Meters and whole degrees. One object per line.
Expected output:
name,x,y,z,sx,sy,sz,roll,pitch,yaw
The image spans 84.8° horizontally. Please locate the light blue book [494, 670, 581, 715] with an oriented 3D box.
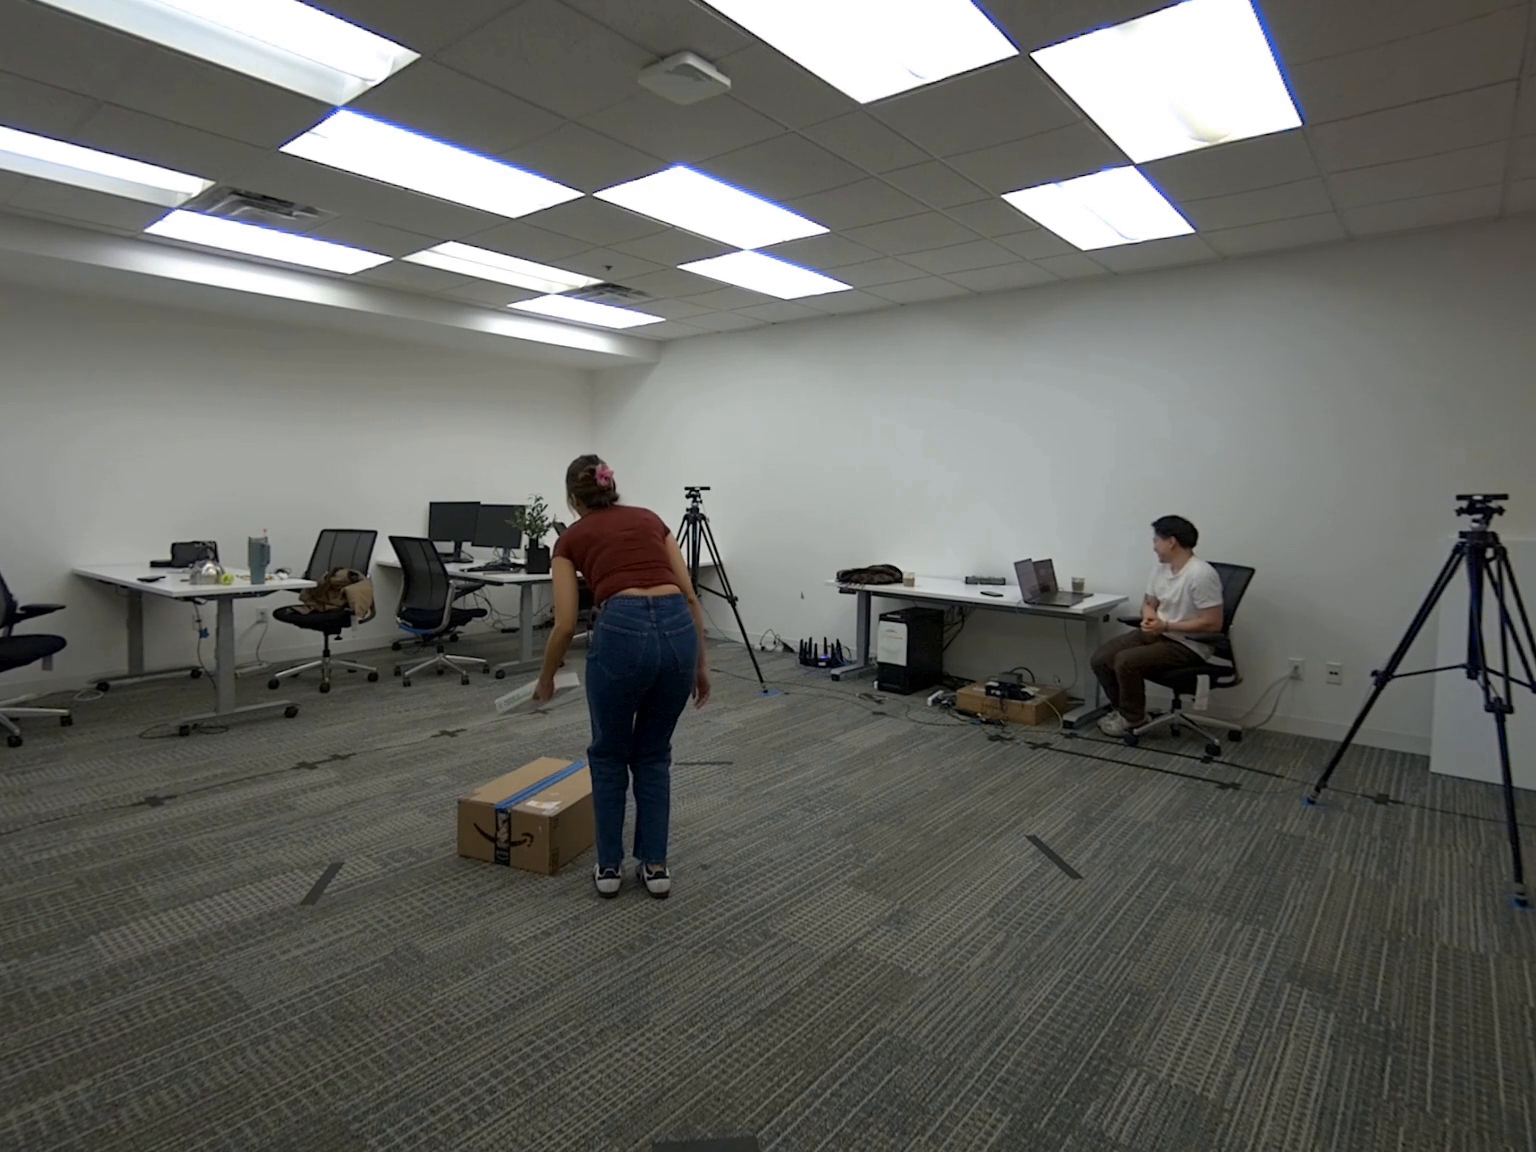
light blue book,-0.887,0.432,3.174,0.263,0.060,0.186,-26,-11,20
